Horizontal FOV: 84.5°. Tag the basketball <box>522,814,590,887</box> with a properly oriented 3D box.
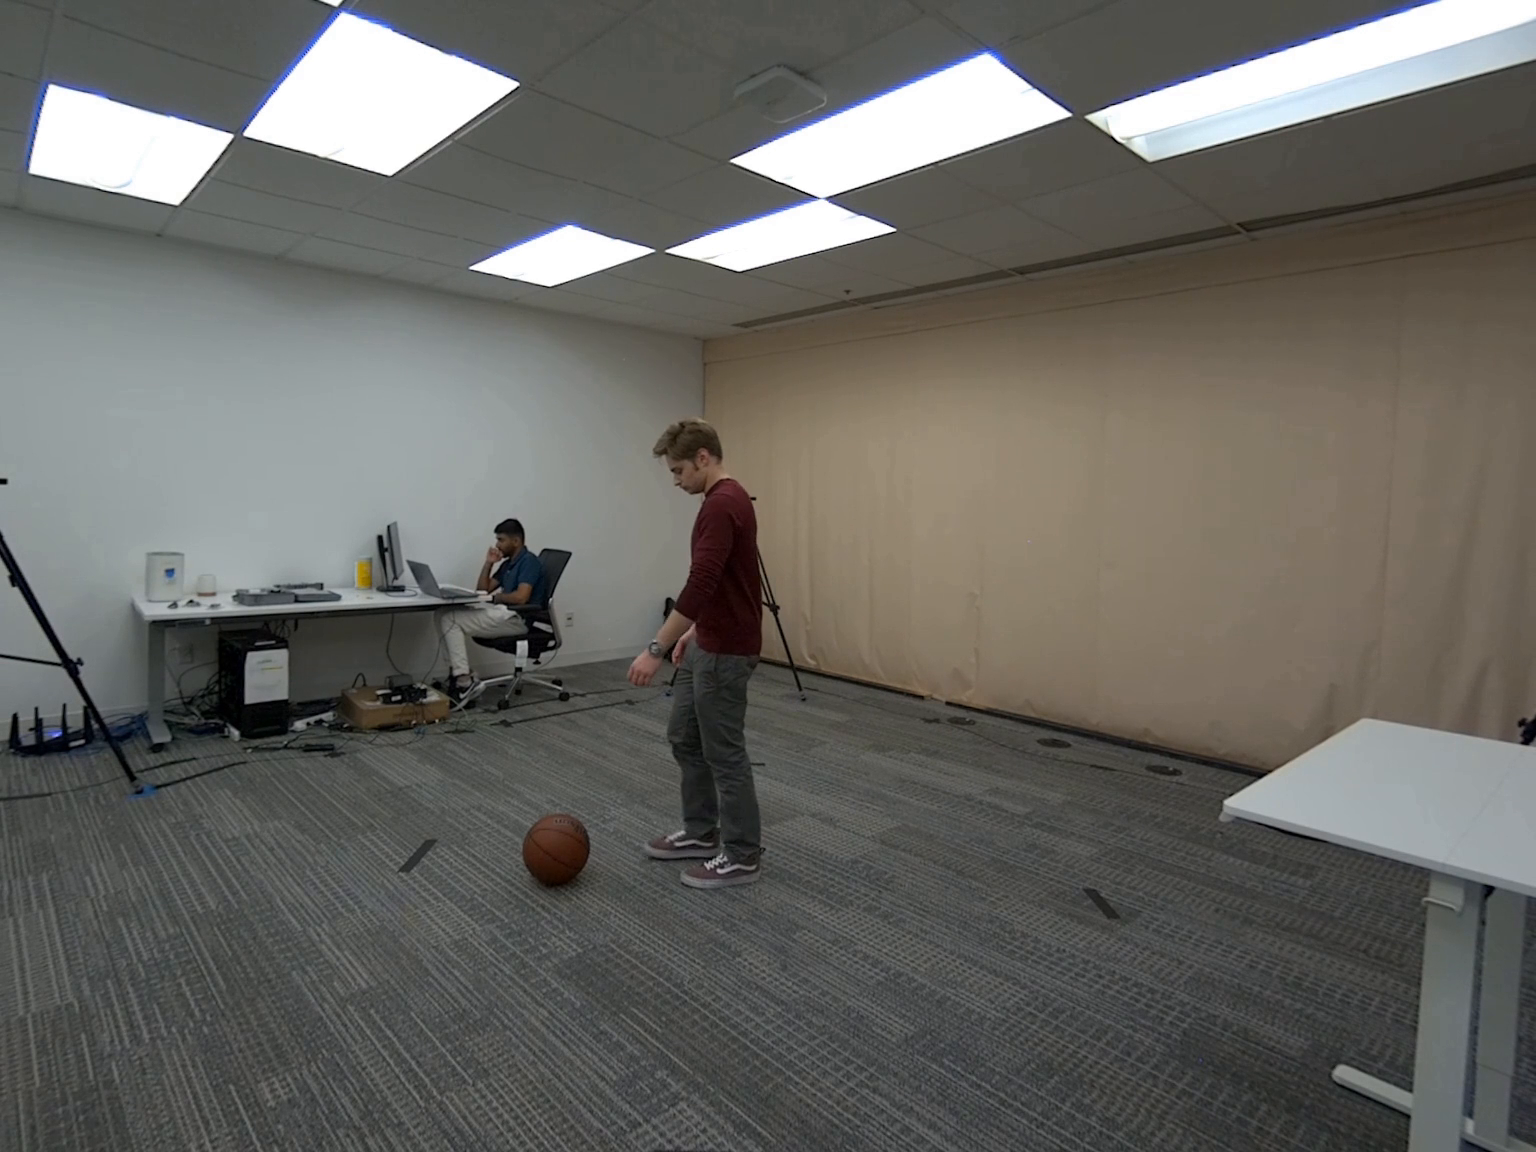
[{"bbox_3d":[-0.771,0.981,3.024,0.236,0.235,0.237,1,4,-1],"label":"basketball"}]
